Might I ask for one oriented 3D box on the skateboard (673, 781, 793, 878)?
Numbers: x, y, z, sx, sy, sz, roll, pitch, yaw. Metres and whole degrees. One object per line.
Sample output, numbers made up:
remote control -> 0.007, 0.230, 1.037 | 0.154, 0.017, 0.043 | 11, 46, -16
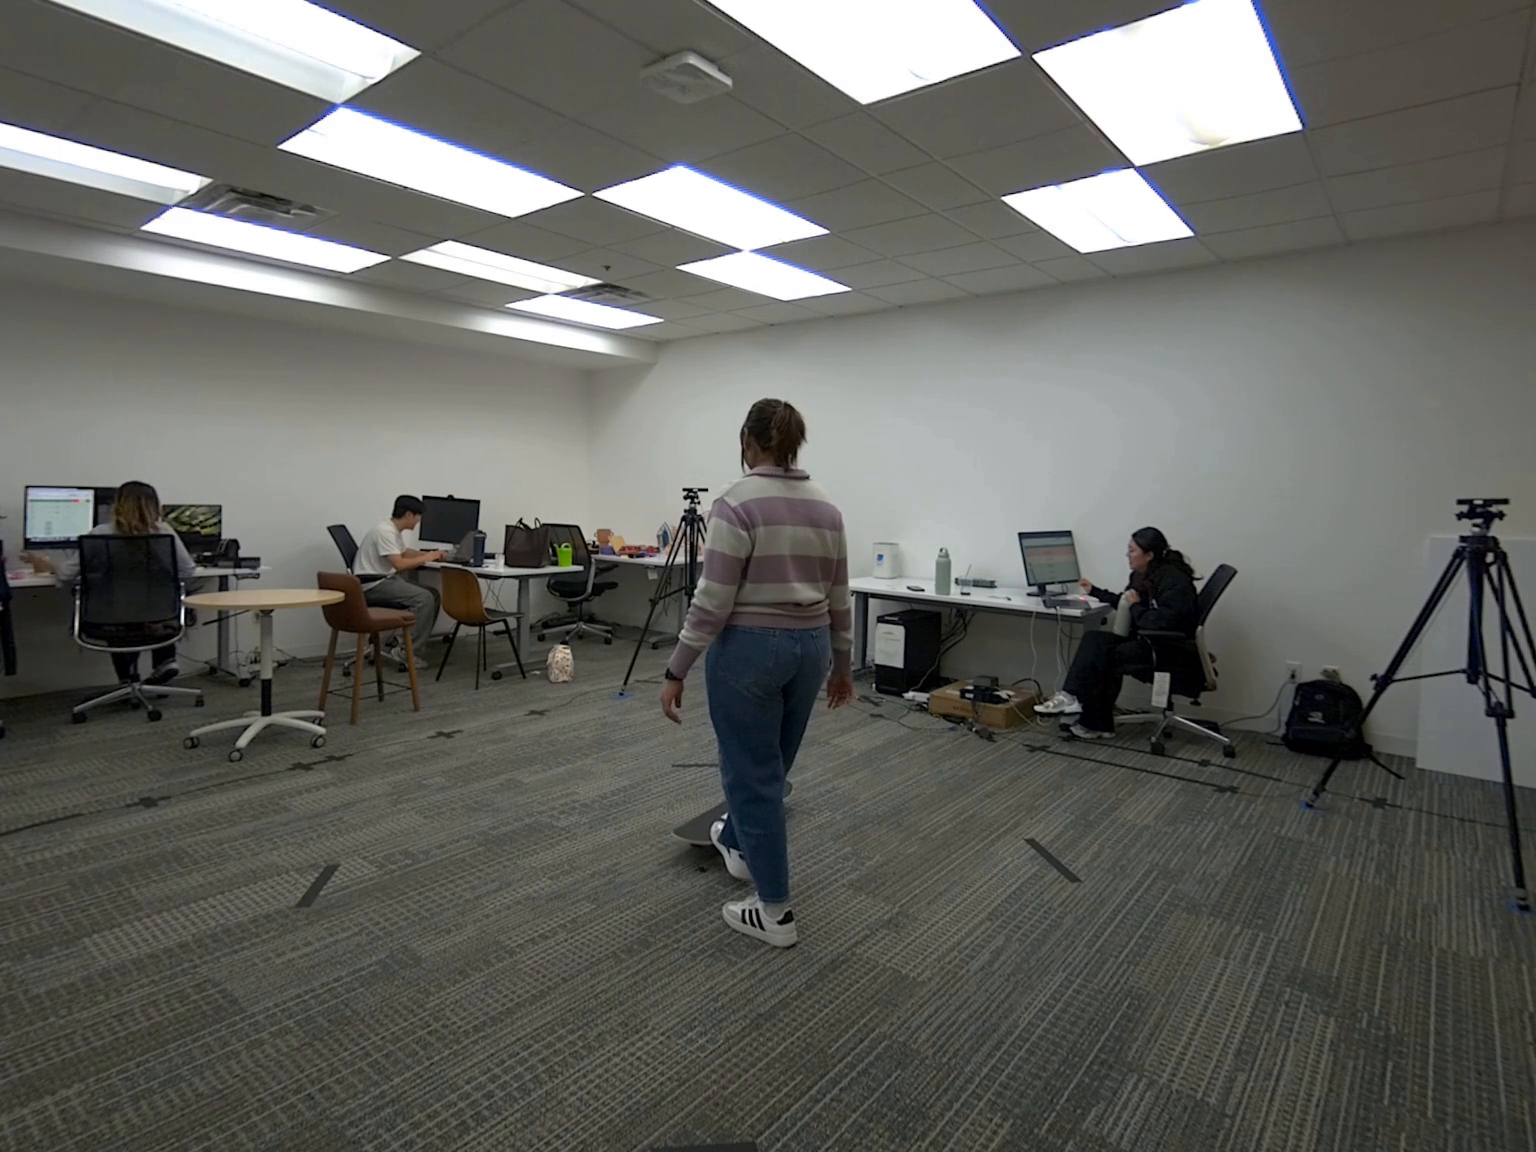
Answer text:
skateboard -> -0.133, 0.979, 3.447 | 0.199, 0.110, 0.765 | 5, 7, 30
